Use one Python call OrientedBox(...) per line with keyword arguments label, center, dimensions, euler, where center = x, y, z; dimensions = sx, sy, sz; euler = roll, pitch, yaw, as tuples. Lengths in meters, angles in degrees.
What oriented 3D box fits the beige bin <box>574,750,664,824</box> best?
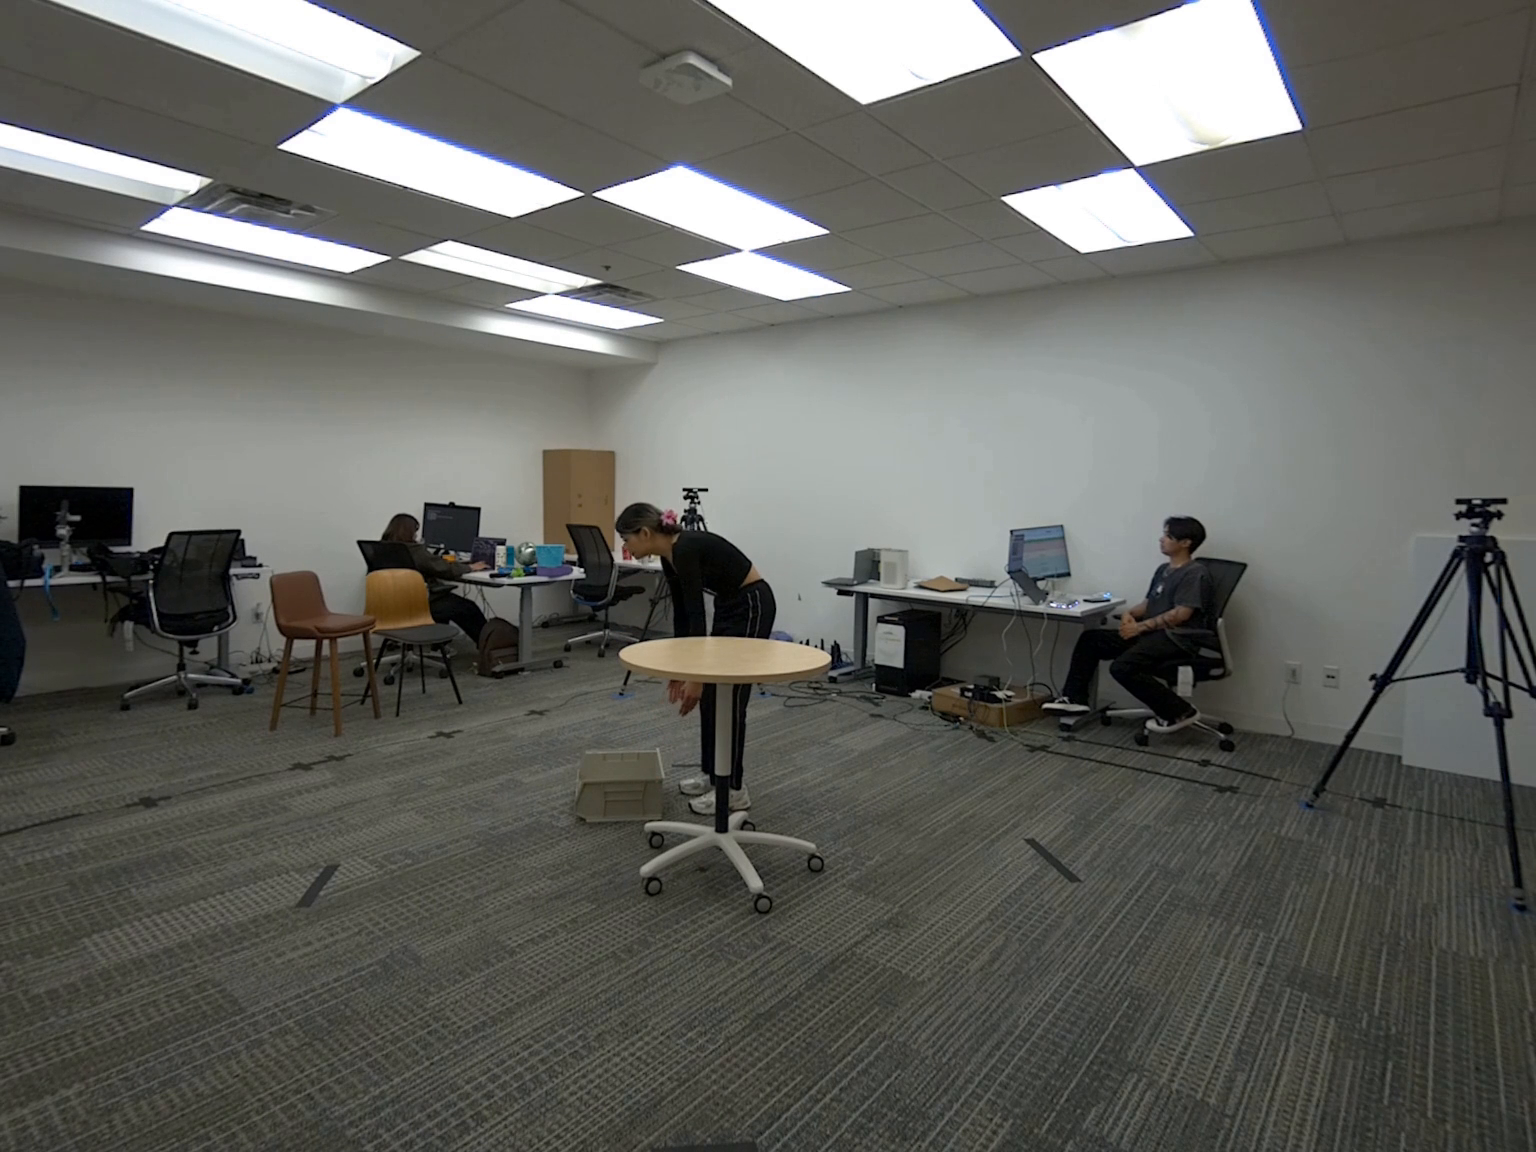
OrientedBox(label="beige bin", center=(-0.673, 0.914, 3.748), dimensions=(0.374, 0.188, 0.428), euler=(1, 4, -10))
